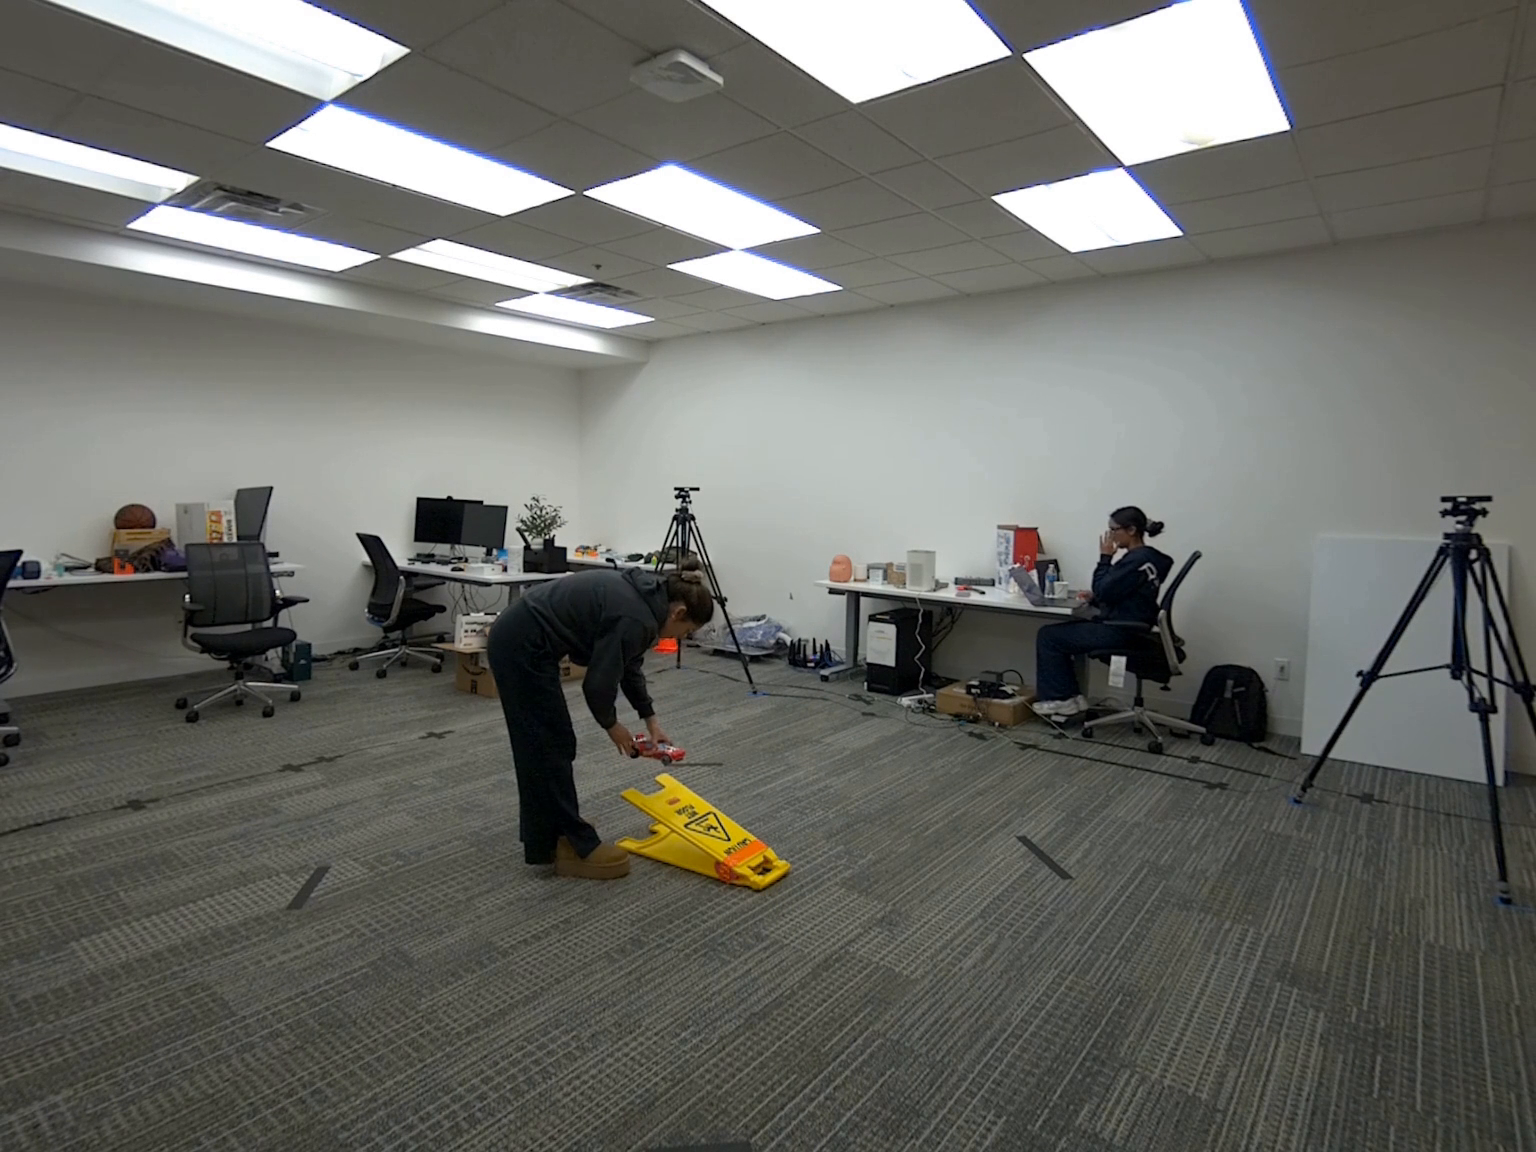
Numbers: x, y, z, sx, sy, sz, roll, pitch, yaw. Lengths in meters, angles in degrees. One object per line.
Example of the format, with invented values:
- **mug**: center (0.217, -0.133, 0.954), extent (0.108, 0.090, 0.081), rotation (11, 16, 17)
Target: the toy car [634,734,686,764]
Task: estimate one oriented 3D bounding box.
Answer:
- **toy car**: center (-0.455, 0.688, 3.317), extent (0.263, 0.083, 0.126), rotation (16, 6, 27)
